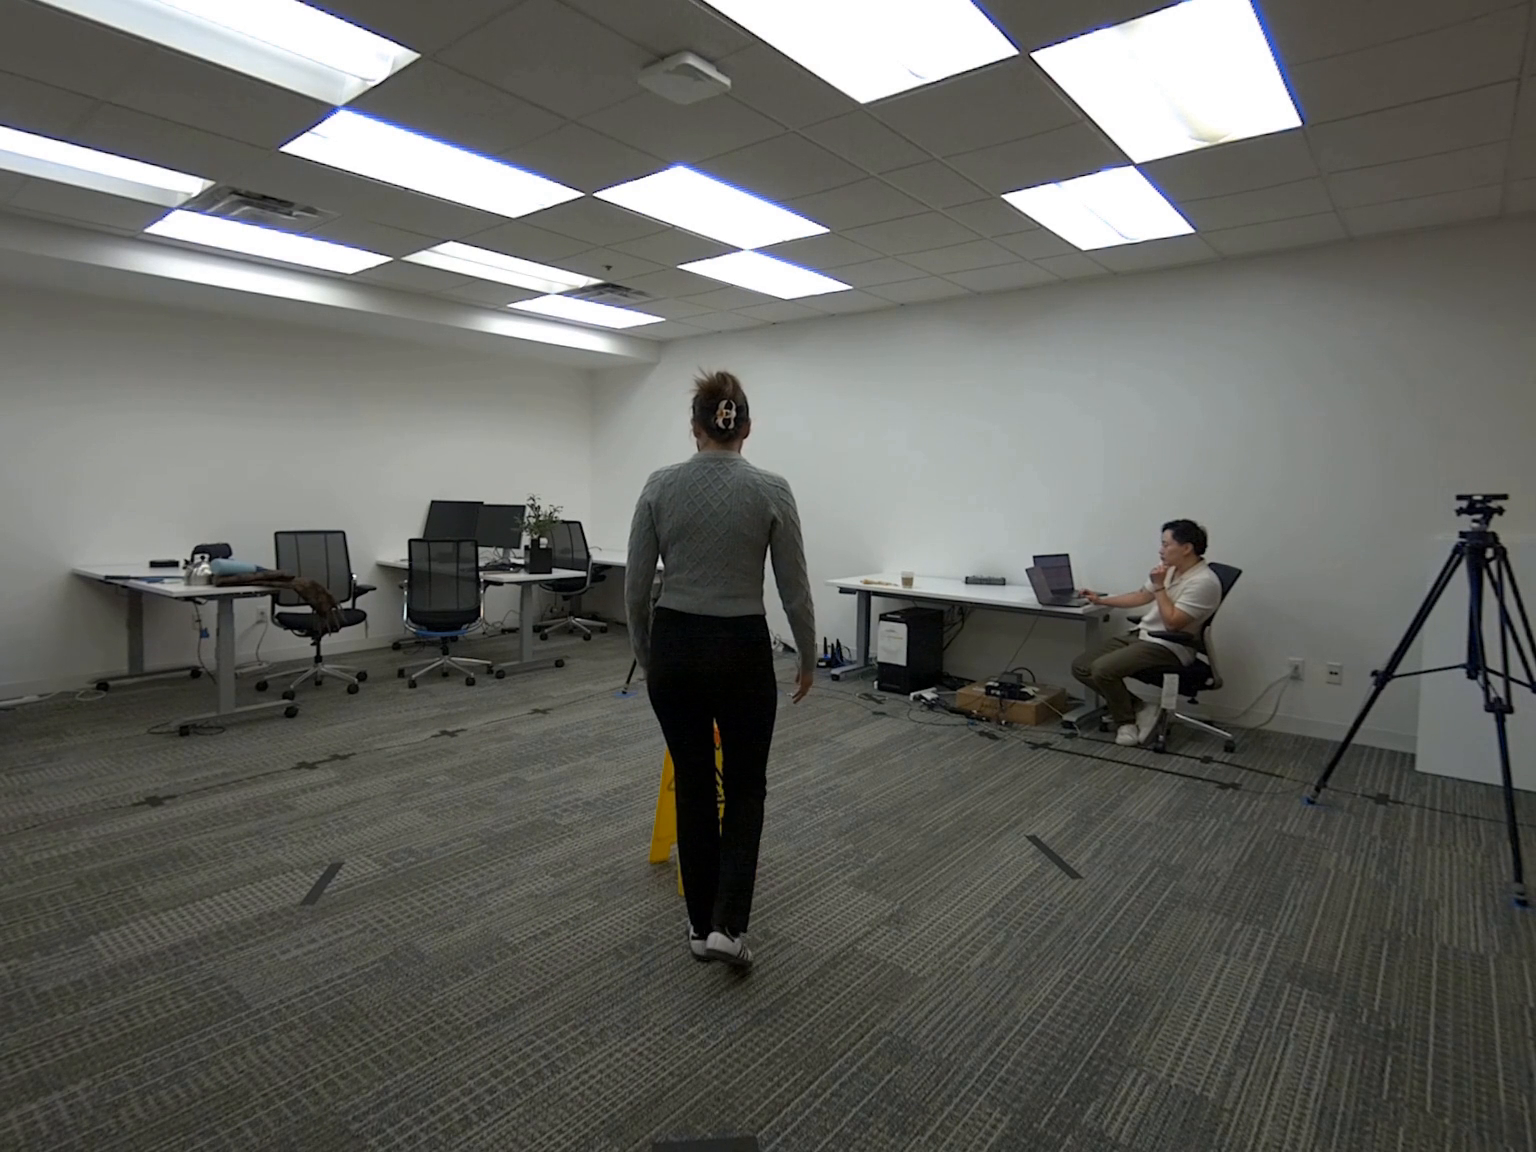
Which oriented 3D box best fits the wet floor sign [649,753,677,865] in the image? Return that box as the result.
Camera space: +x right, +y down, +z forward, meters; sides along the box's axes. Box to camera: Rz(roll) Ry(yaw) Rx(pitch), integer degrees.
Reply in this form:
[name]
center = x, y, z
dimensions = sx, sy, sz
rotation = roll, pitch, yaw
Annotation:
[wet floor sign]
center = -0.252, 0.740, 3.063
dimensions = 0.275, 0.645, 0.298
rotation = 1, 2, -28
